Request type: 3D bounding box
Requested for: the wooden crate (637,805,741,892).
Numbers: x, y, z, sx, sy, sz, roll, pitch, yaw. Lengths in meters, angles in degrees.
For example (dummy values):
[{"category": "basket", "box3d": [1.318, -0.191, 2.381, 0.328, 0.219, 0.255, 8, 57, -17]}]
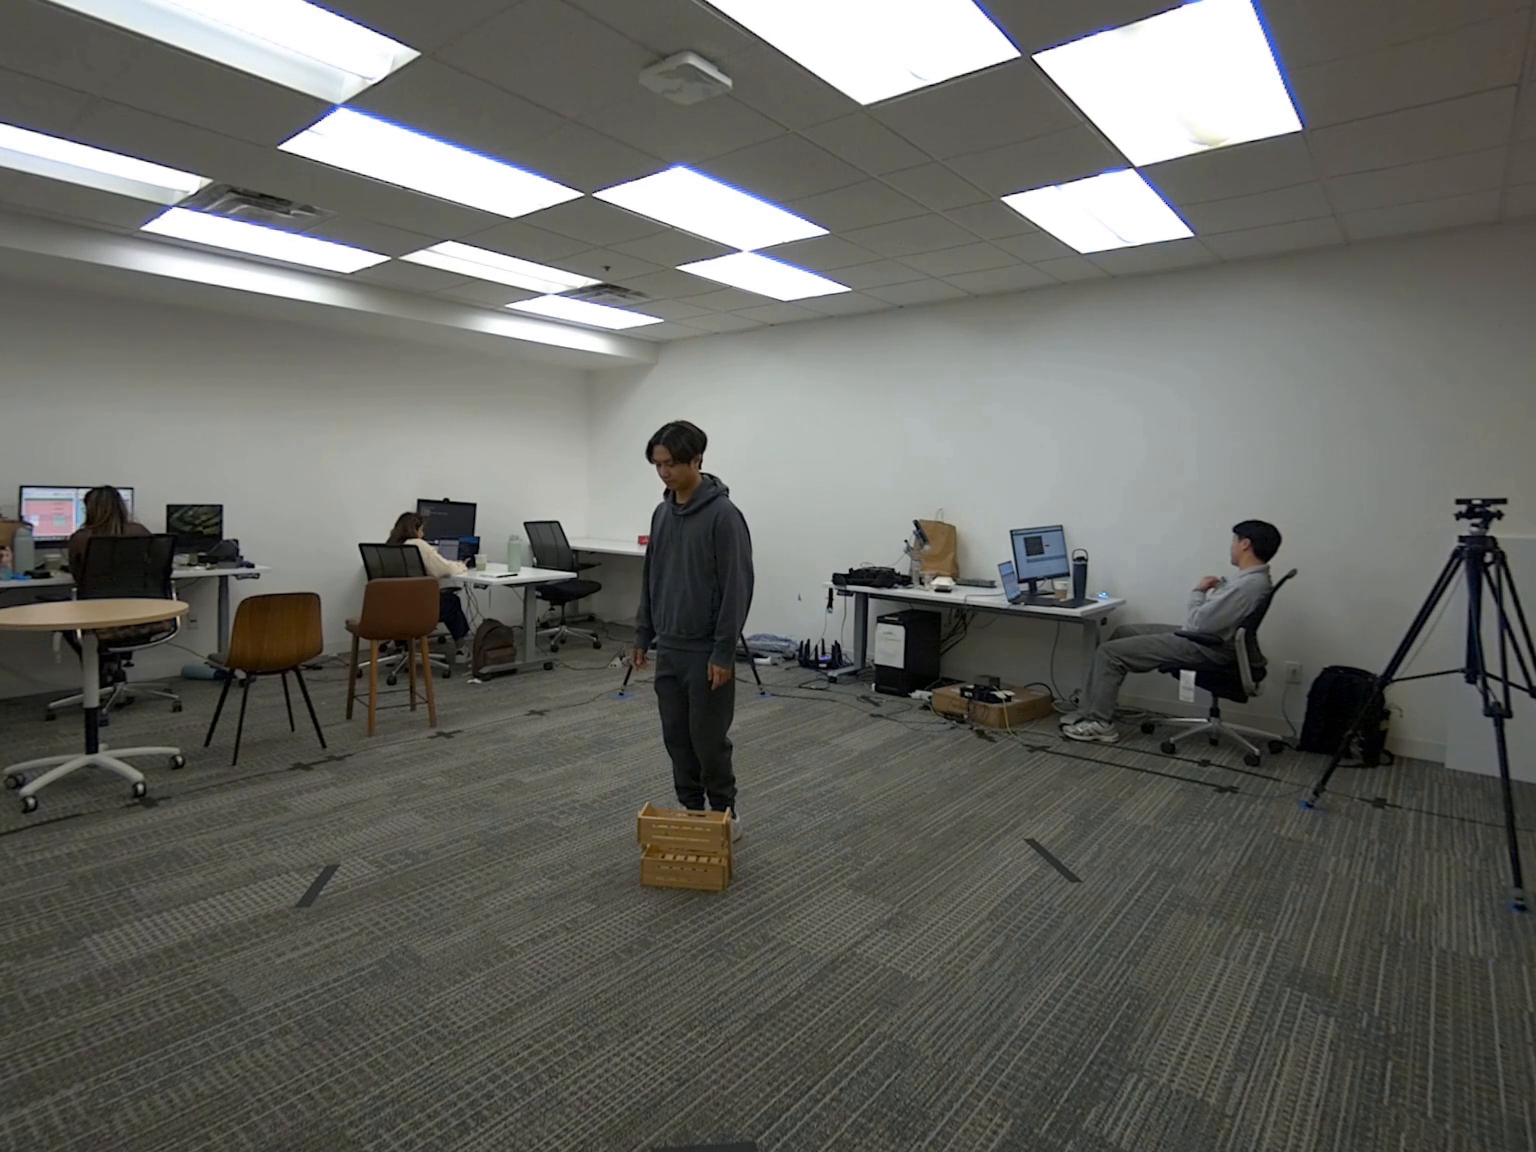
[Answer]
[{"category": "wooden crate", "box3d": [-0.300, 0.942, 3.056, 0.327, 0.272, 0.301, 1, 4, 5]}]
